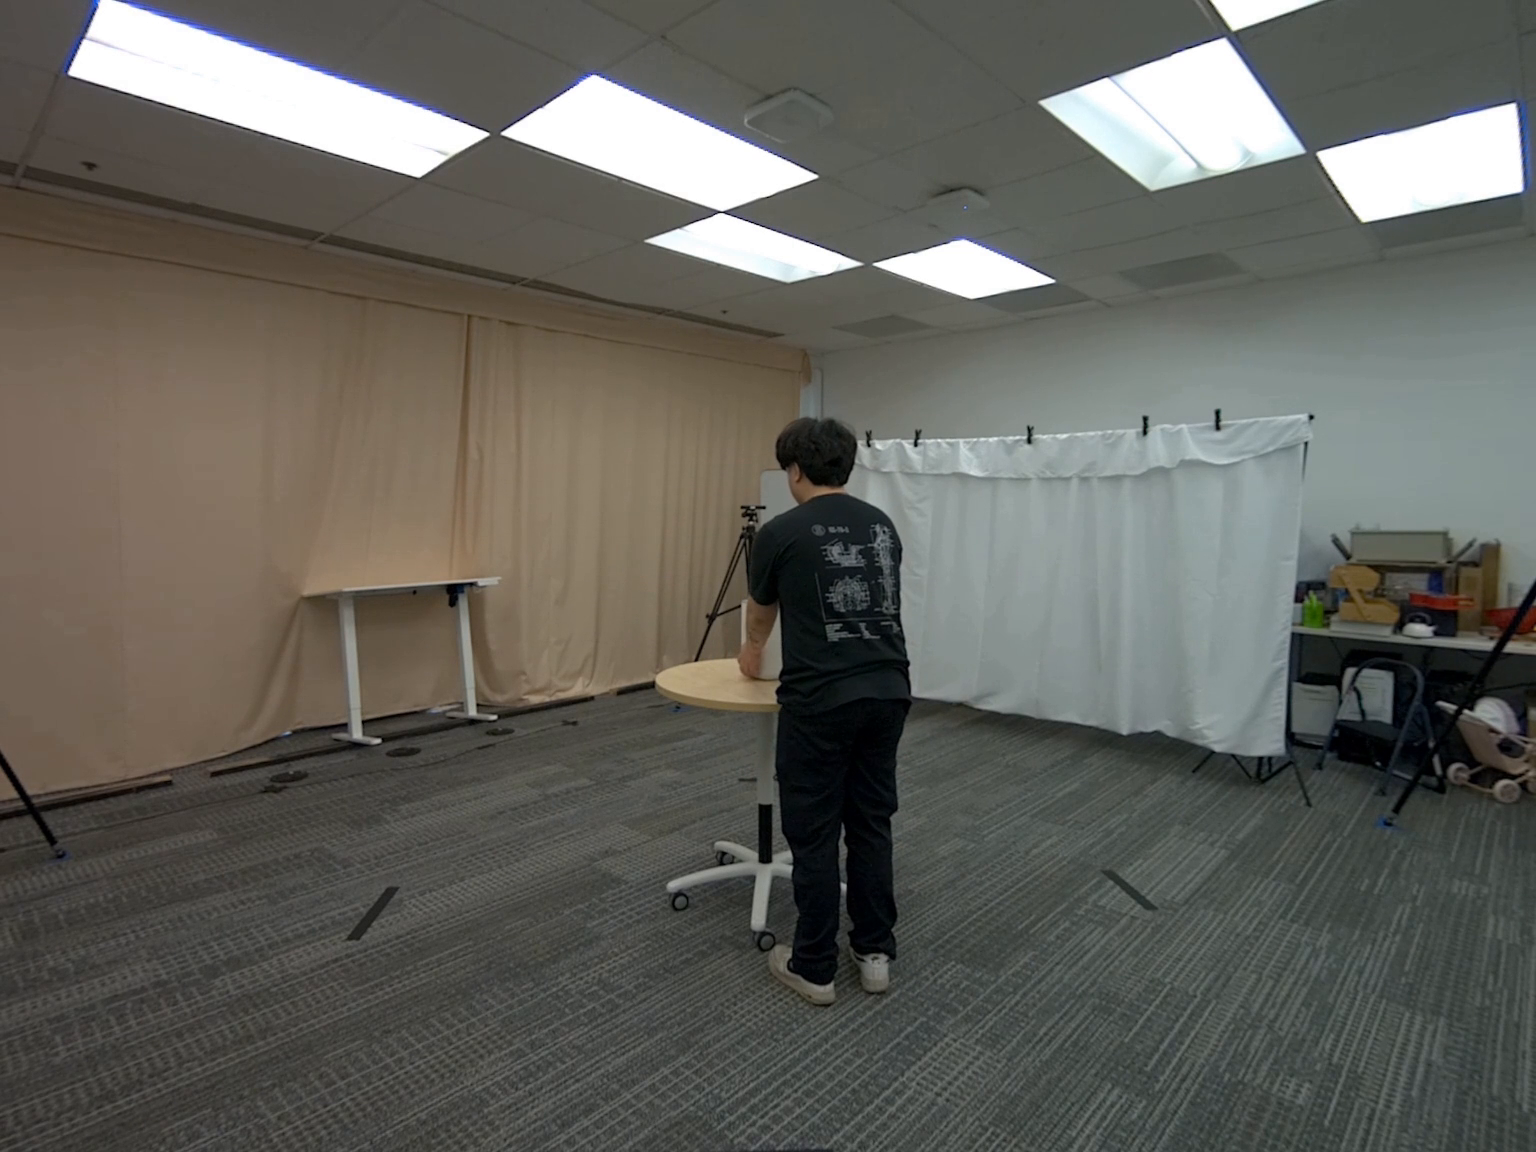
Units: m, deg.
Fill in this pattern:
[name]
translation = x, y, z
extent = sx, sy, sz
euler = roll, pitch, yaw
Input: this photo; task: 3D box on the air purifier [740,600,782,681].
[air purifier]
translation = 0.013, 0.217, 2.952
extent = 0.166, 0.265, 0.177
euler = -3, 5, -41
